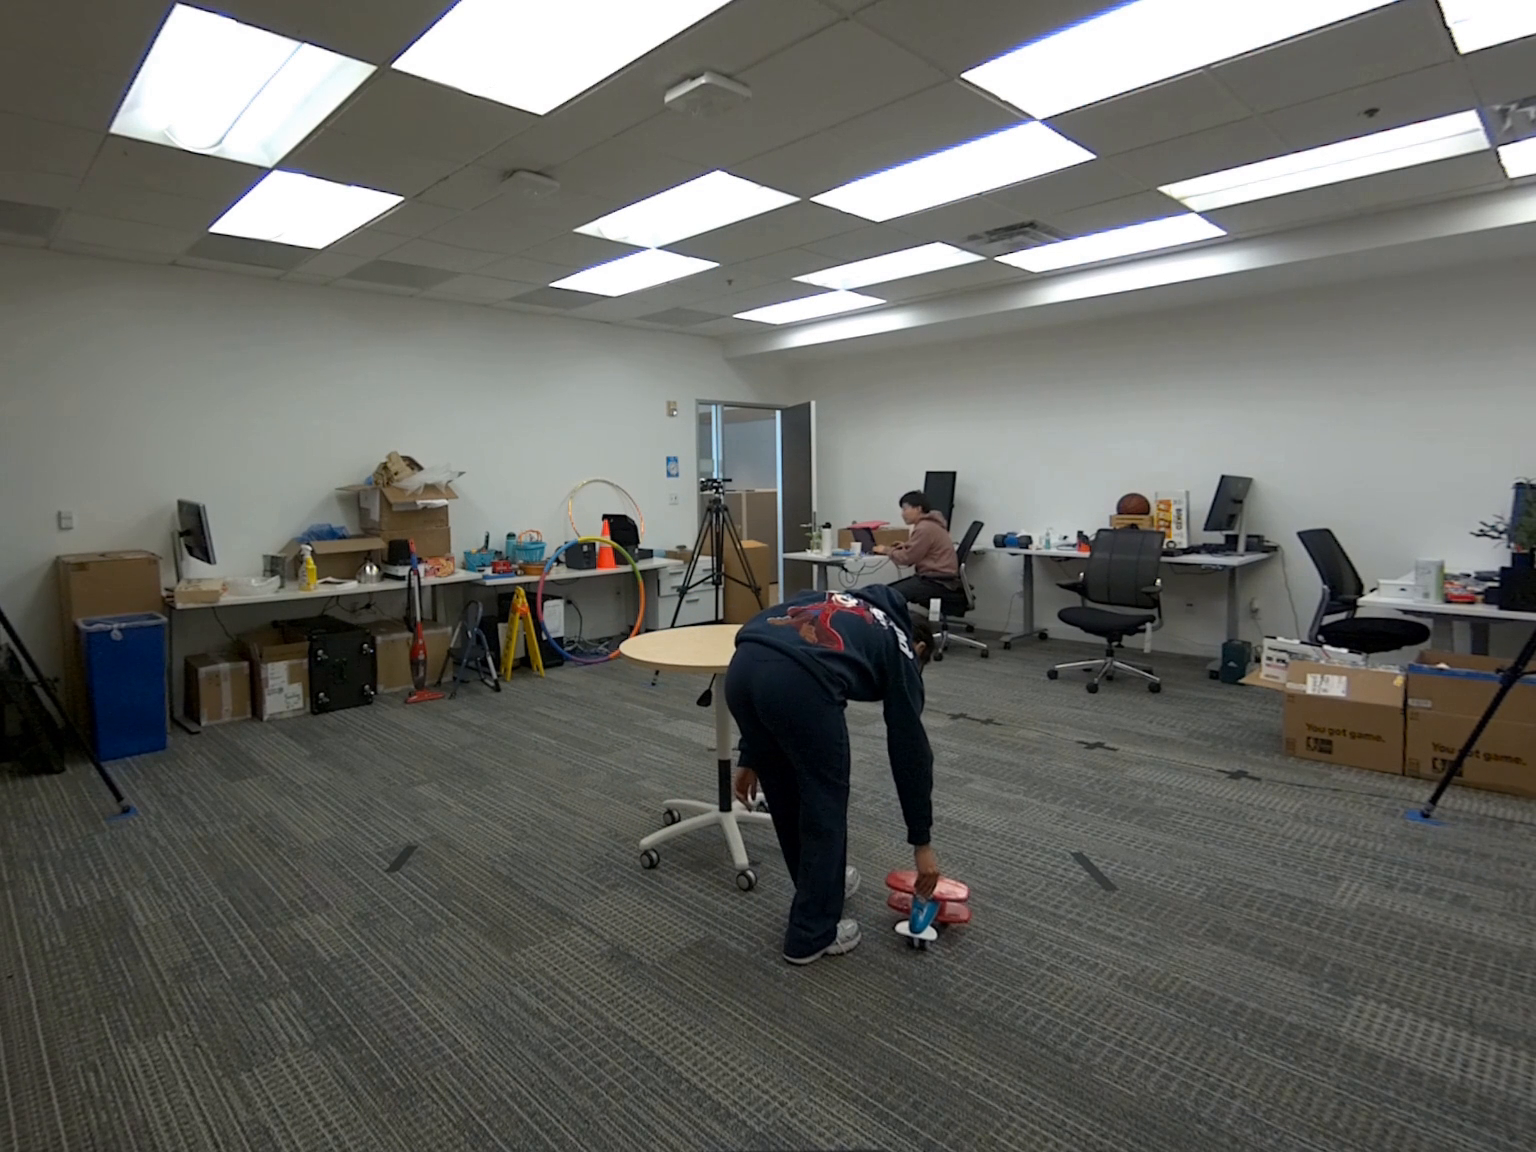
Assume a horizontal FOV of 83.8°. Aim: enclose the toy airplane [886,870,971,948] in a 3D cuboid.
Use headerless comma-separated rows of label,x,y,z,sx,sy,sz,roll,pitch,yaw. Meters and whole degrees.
toy airplane,0.496,1.017,2.597,0.250,0.156,0.261,-1,4,-3
